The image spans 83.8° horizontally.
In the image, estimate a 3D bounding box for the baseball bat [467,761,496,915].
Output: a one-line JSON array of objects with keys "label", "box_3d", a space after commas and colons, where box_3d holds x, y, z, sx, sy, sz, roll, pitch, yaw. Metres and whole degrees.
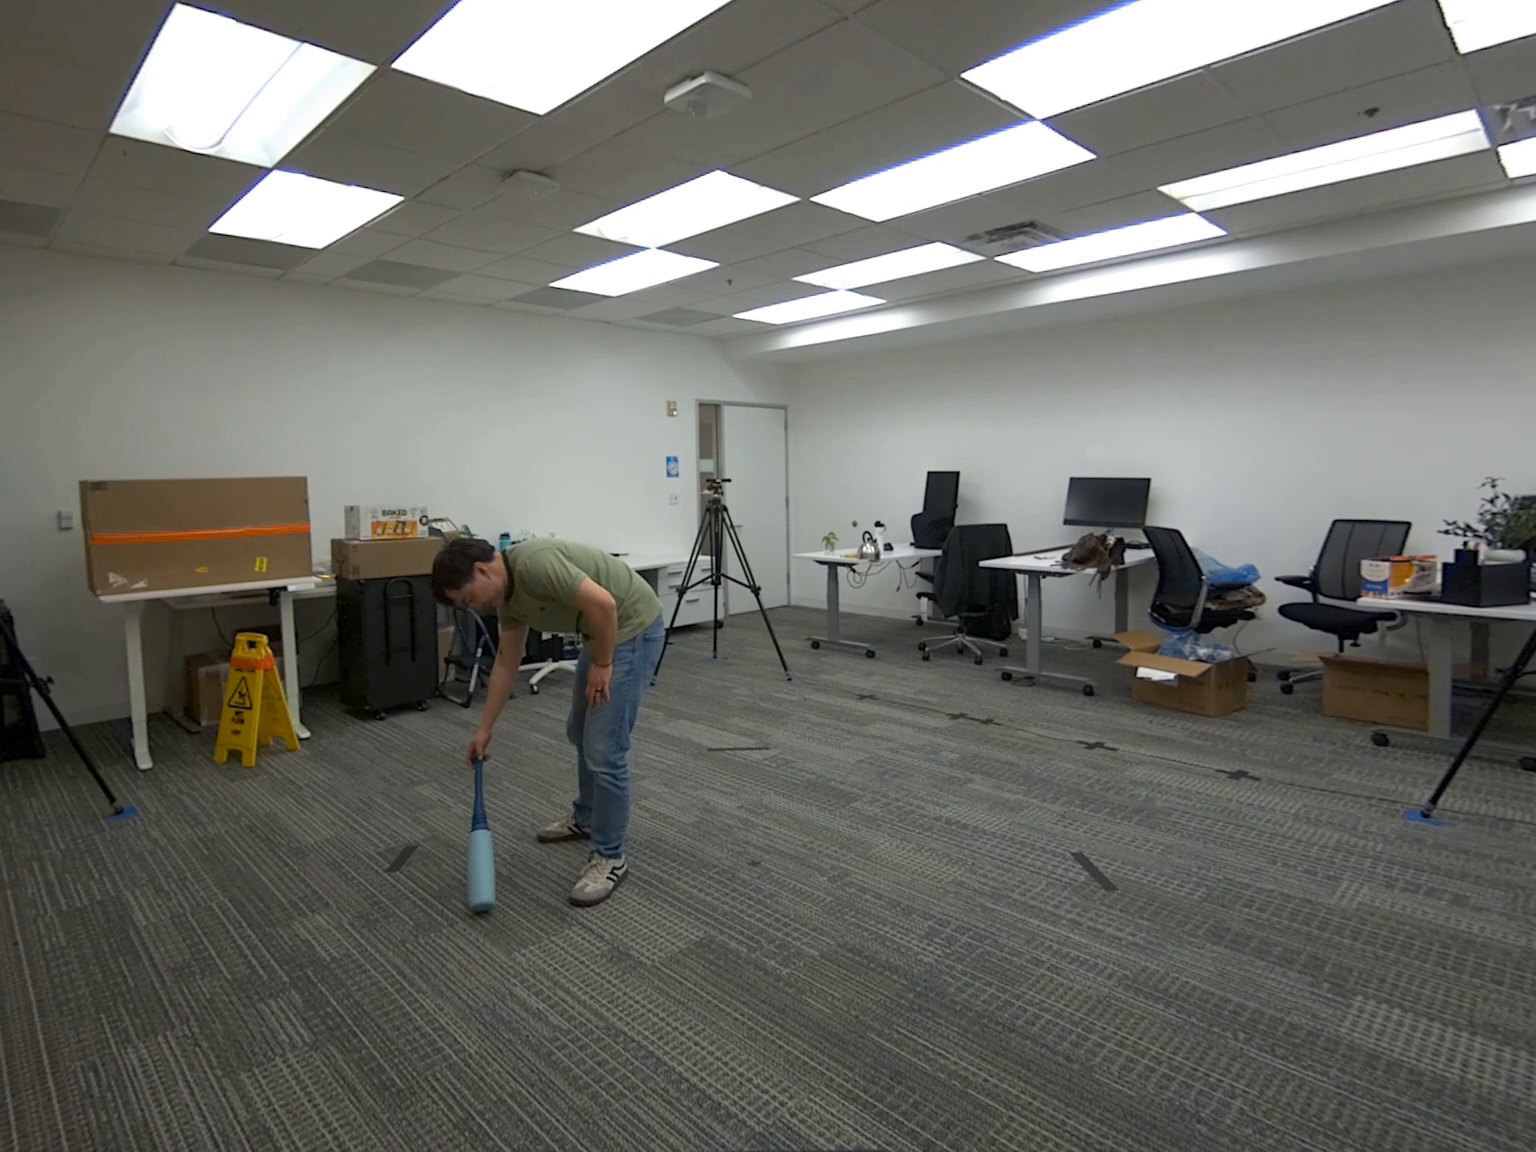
[{"label": "baseball bat", "box_3d": [-0.981, 0.864, 2.931, 0.088, 0.561, 0.087, -10, -37, -9]}]
